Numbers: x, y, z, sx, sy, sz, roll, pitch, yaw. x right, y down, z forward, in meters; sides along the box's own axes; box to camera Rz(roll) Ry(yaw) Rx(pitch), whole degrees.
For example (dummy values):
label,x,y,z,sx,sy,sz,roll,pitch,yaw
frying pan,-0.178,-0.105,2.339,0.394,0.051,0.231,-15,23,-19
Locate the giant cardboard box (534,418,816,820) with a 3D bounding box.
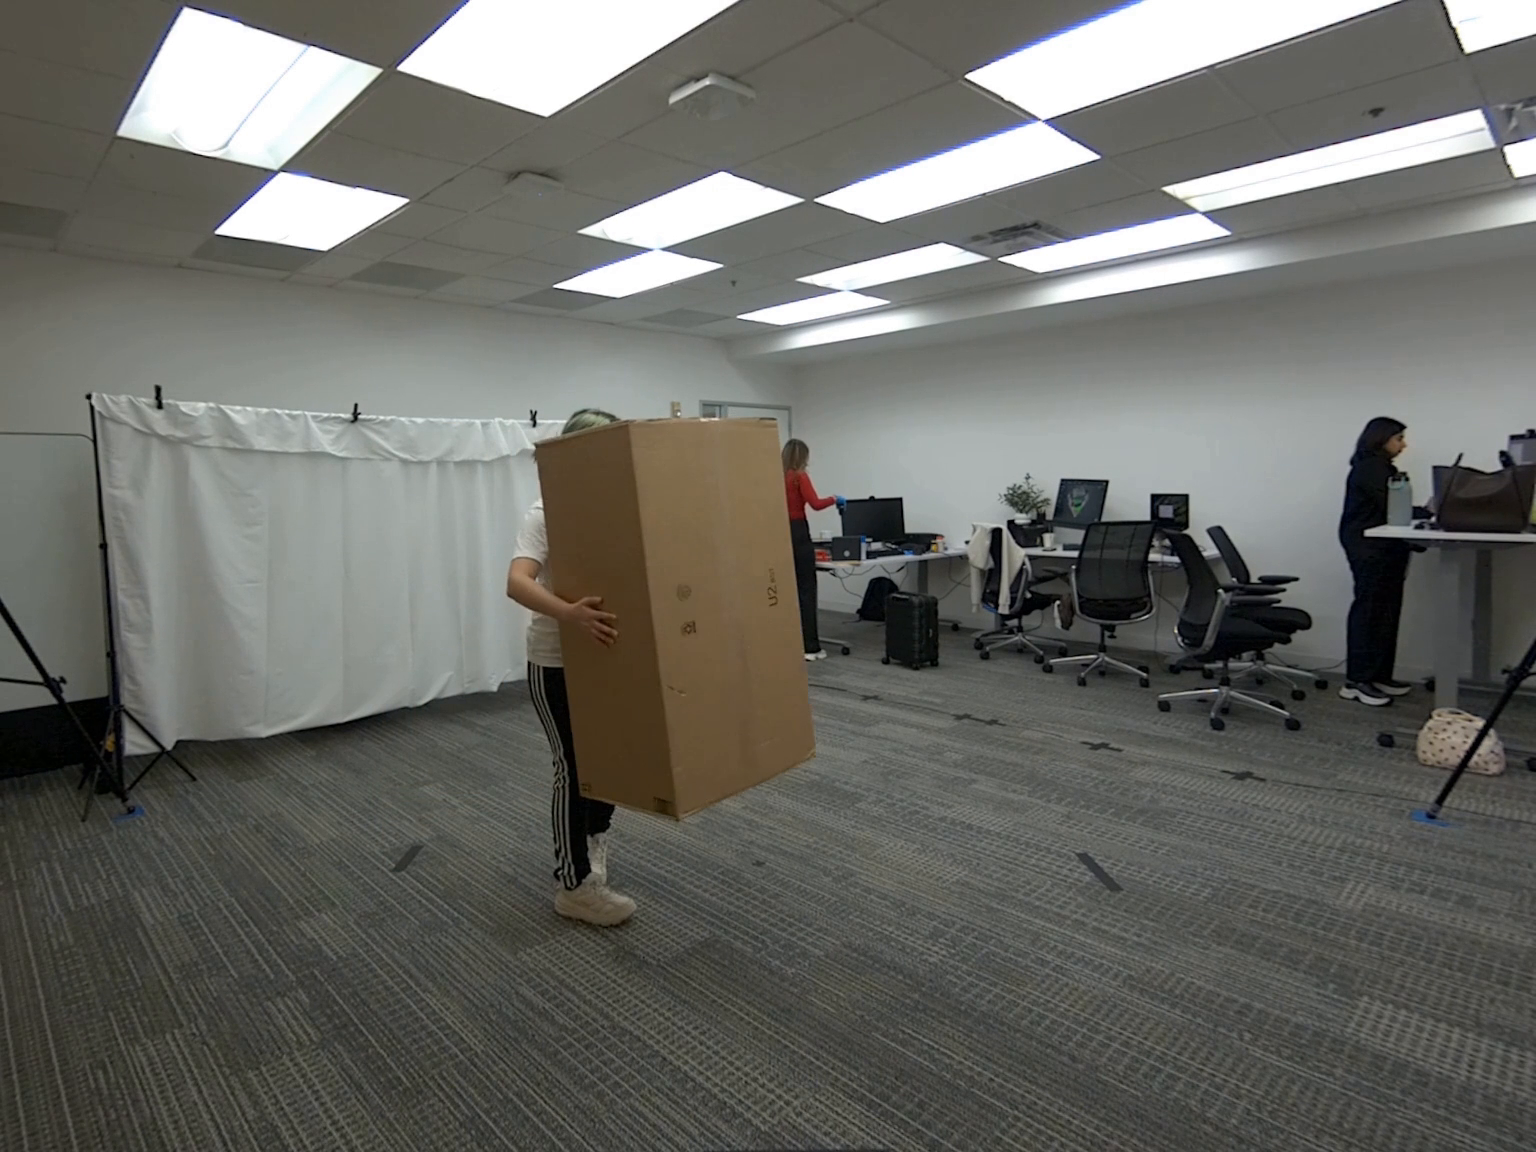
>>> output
label,x,y,z,sx,sy,sz,roll,pitch,yaw
giant cardboard box,-0.257,0.084,2.489,0.459,1.024,0.570,-4,4,43
